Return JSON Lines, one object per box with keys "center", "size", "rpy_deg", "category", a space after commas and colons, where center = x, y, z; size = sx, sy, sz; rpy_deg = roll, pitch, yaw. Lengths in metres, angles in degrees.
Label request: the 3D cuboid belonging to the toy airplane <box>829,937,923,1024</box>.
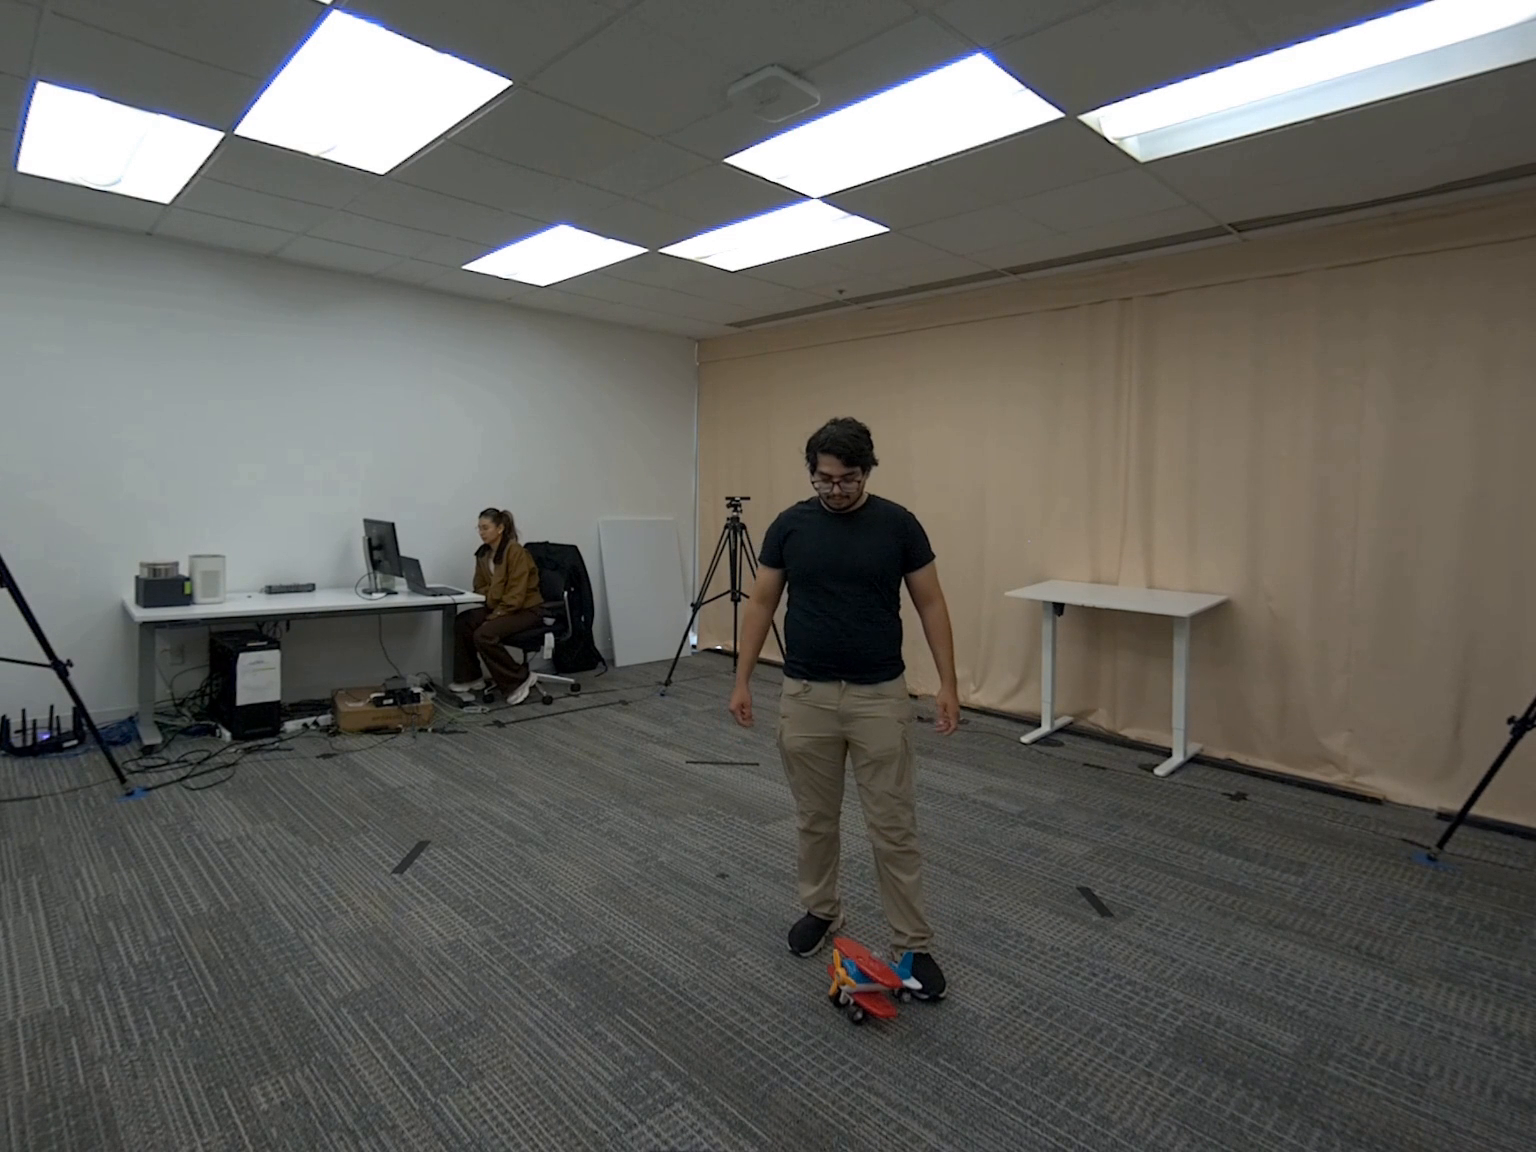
{"center": [0.274, 1.116, 2.328], "size": [0.257, 0.156, 0.254], "rpy_deg": [6, 8, 32], "category": "toy airplane"}
